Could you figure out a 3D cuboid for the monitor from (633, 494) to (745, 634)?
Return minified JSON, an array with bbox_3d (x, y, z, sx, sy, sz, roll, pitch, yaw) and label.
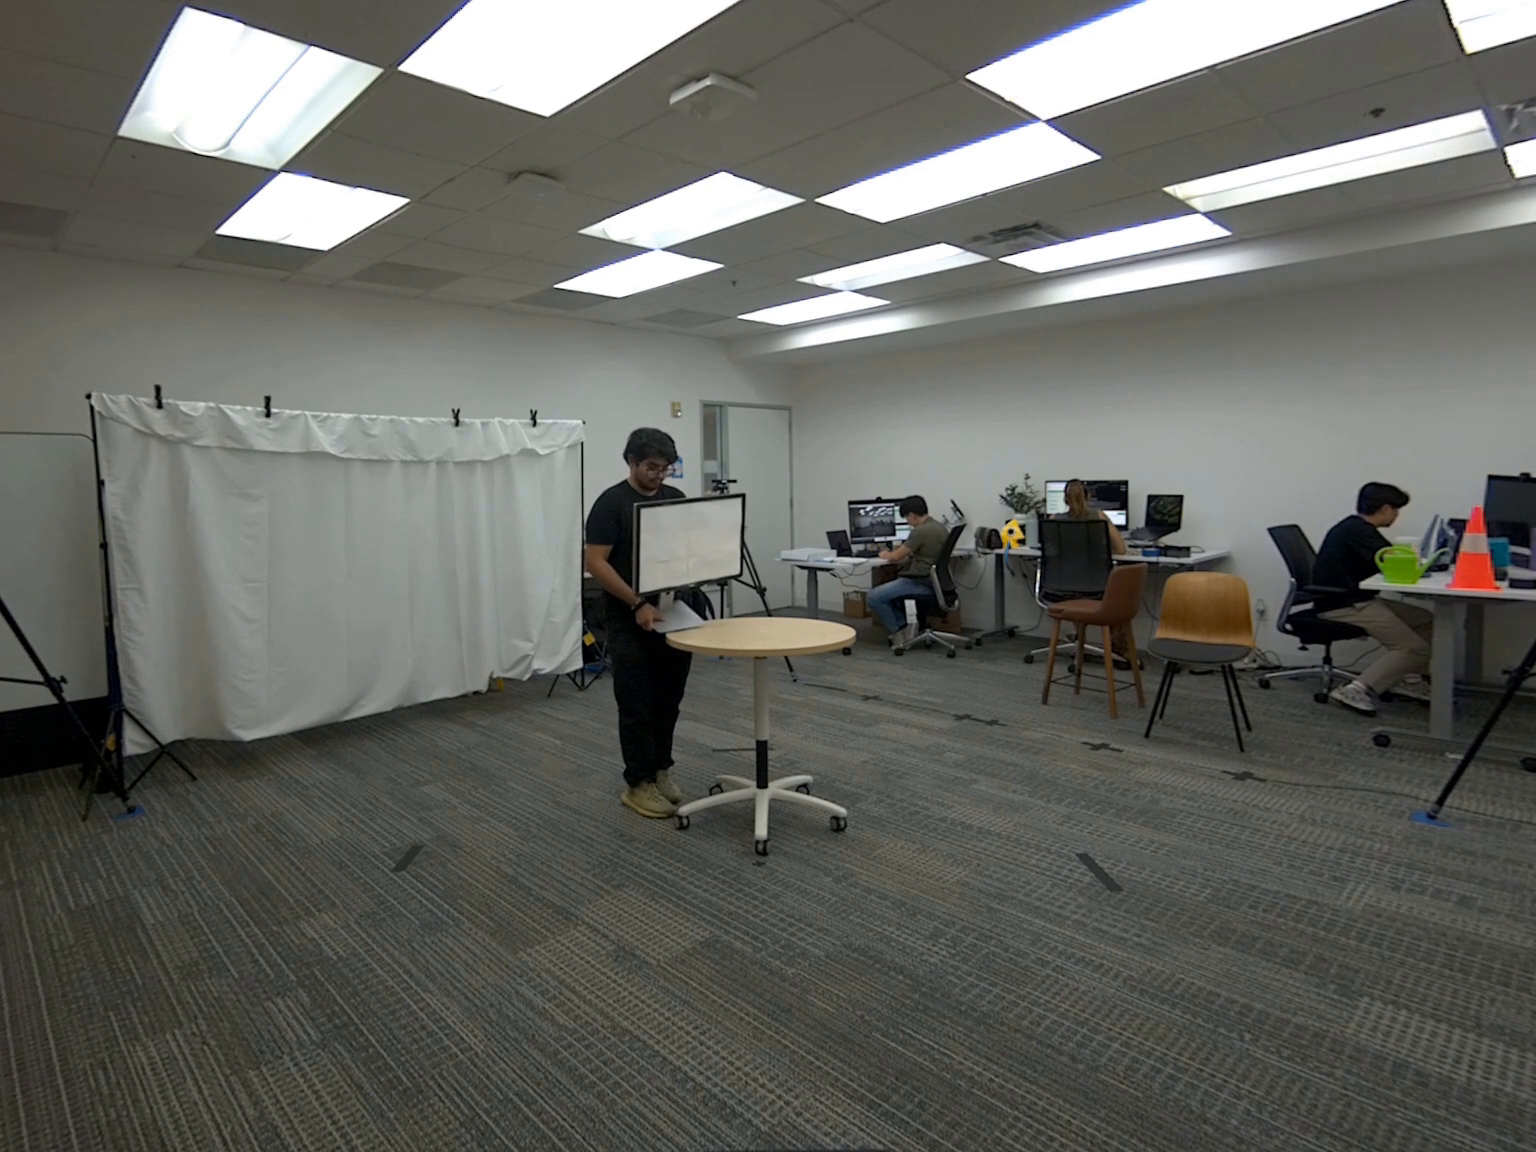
[{"bbox_3d":[-0.372,-0.069,3.501,0.552,0.547,0.218,-10,24,-42],"label":"monitor"}]
